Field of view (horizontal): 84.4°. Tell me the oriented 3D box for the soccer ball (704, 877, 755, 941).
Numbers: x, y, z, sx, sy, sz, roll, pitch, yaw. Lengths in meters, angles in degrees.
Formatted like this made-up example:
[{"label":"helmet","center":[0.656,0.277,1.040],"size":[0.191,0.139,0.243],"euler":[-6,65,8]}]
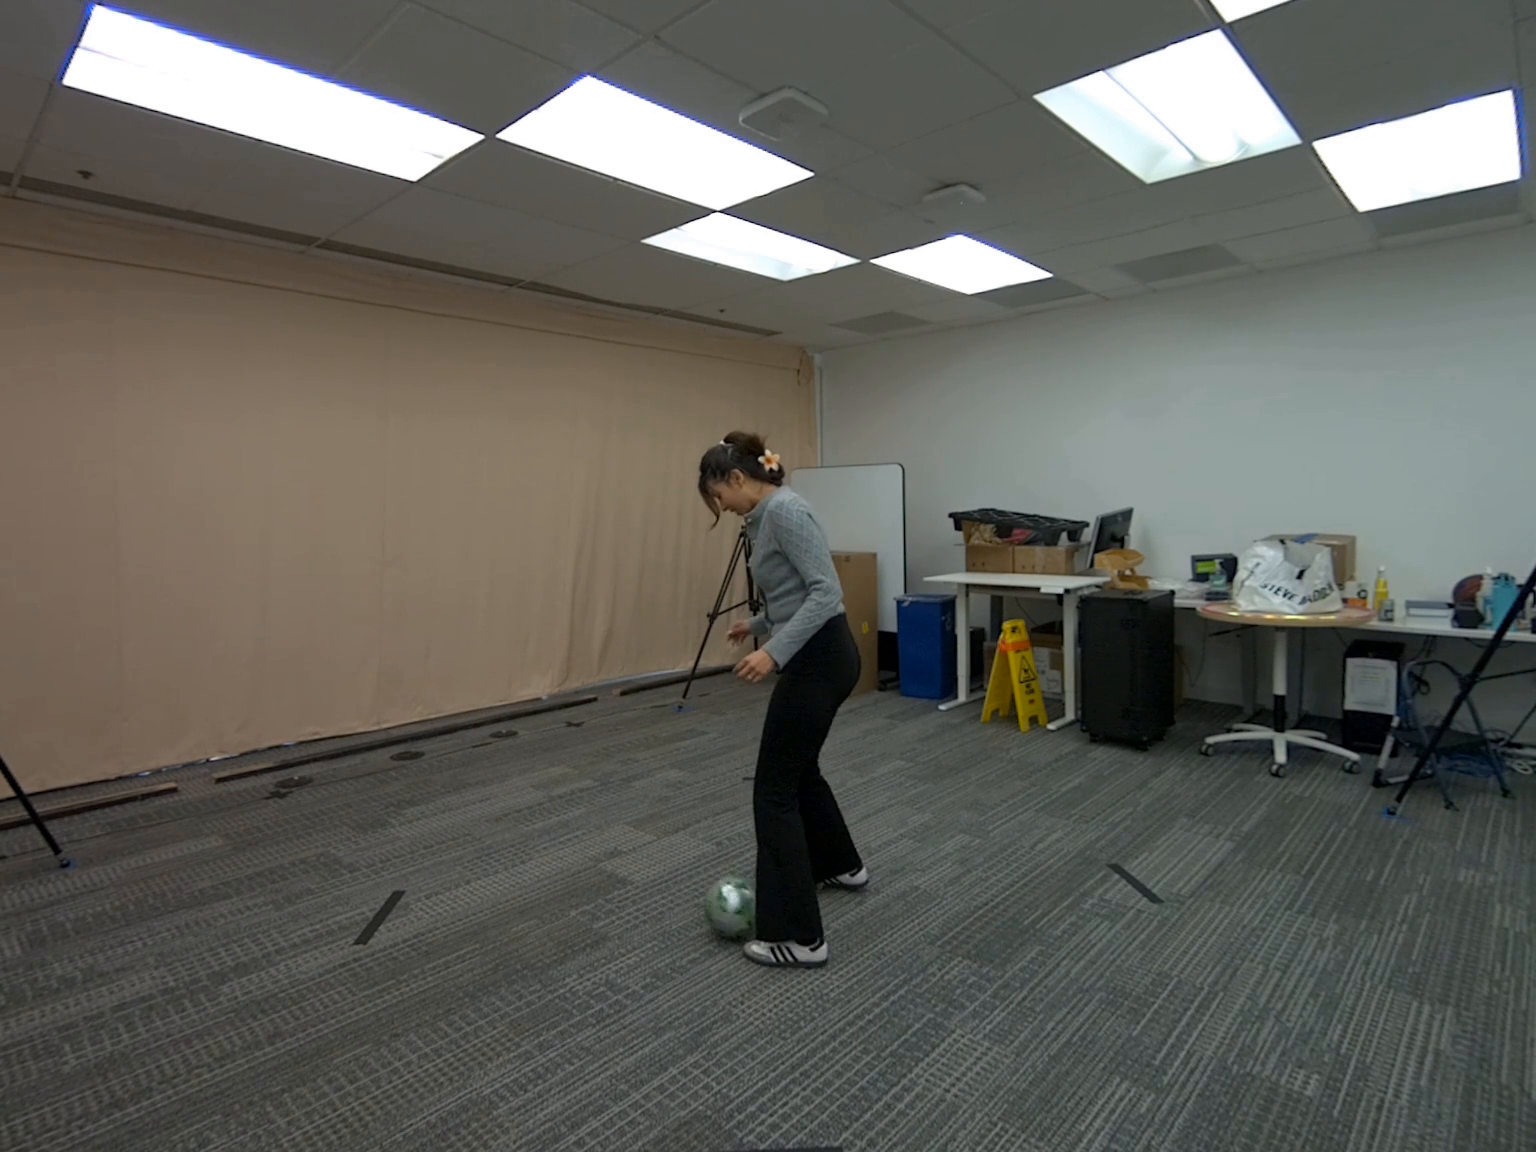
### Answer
[{"label":"soccer ball","center":[-0.121,1.064,2.726],"size":[0.187,0.187,0.188],"euler":[-1,4,-2]}]
